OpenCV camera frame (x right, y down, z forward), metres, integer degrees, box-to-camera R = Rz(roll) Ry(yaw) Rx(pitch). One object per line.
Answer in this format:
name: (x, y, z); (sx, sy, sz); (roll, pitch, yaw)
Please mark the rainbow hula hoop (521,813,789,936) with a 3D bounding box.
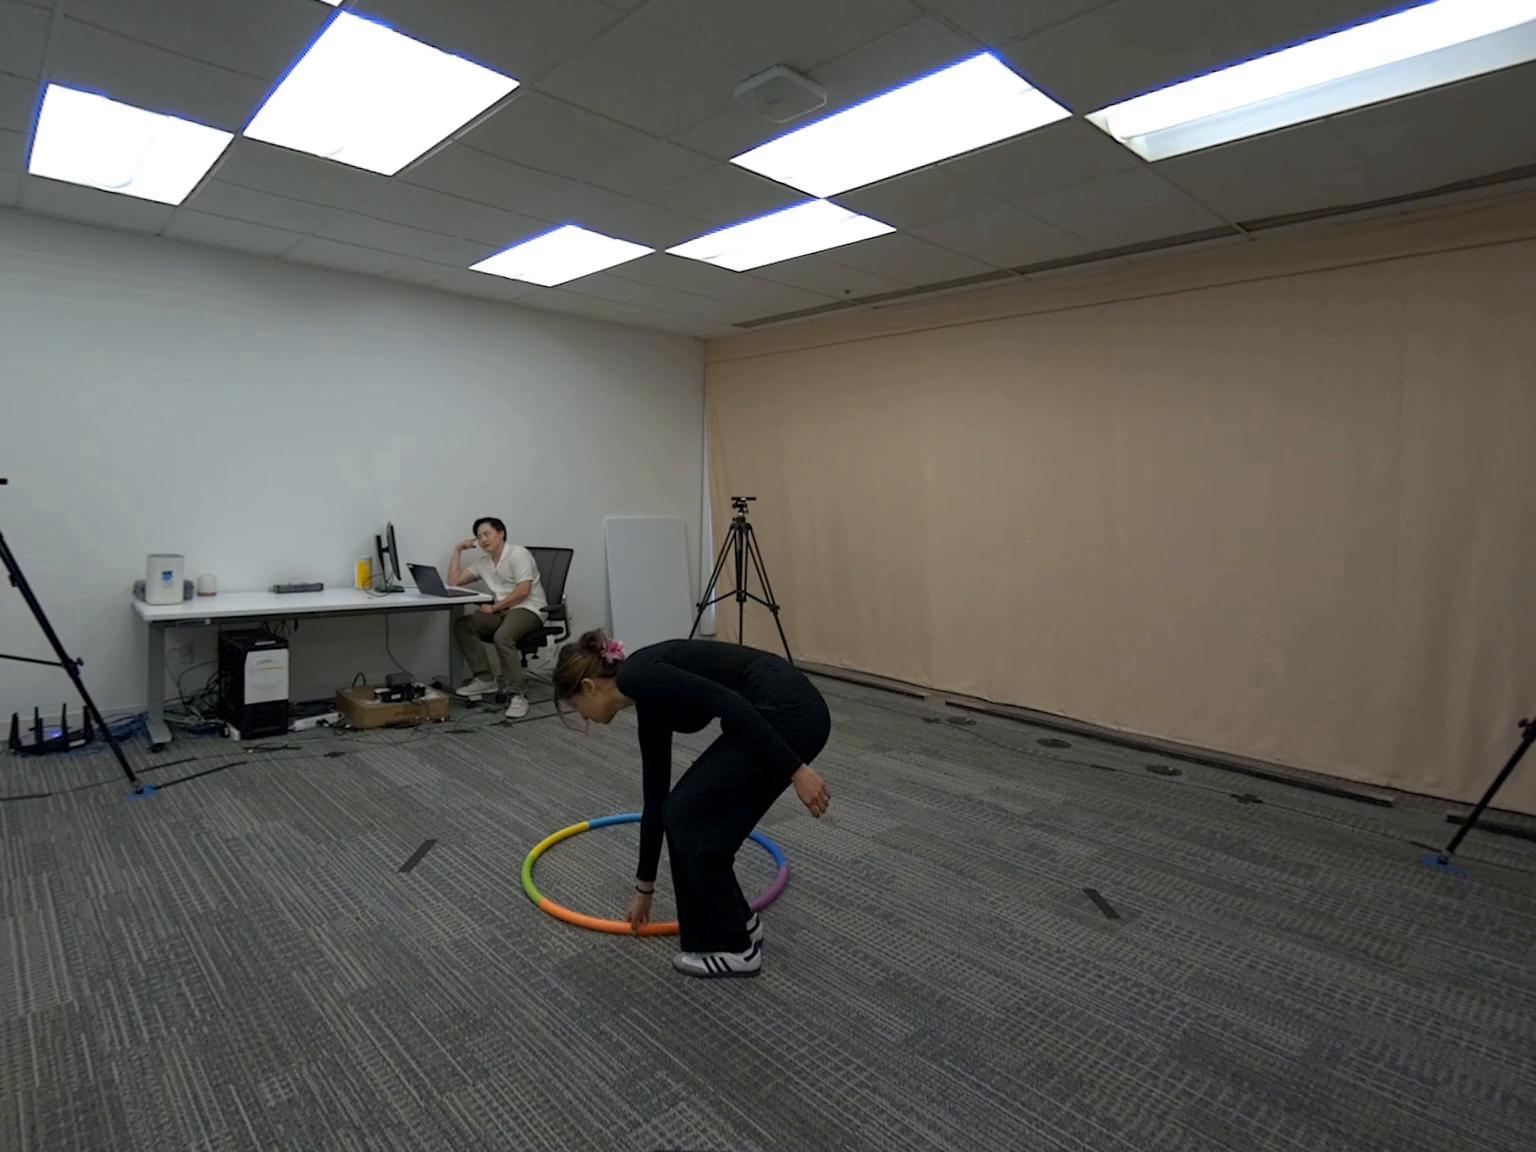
rainbow hula hoop: (-0.419, 1.069, 3.150); (0.985, 0.051, 0.989); (2, 5, -1)
